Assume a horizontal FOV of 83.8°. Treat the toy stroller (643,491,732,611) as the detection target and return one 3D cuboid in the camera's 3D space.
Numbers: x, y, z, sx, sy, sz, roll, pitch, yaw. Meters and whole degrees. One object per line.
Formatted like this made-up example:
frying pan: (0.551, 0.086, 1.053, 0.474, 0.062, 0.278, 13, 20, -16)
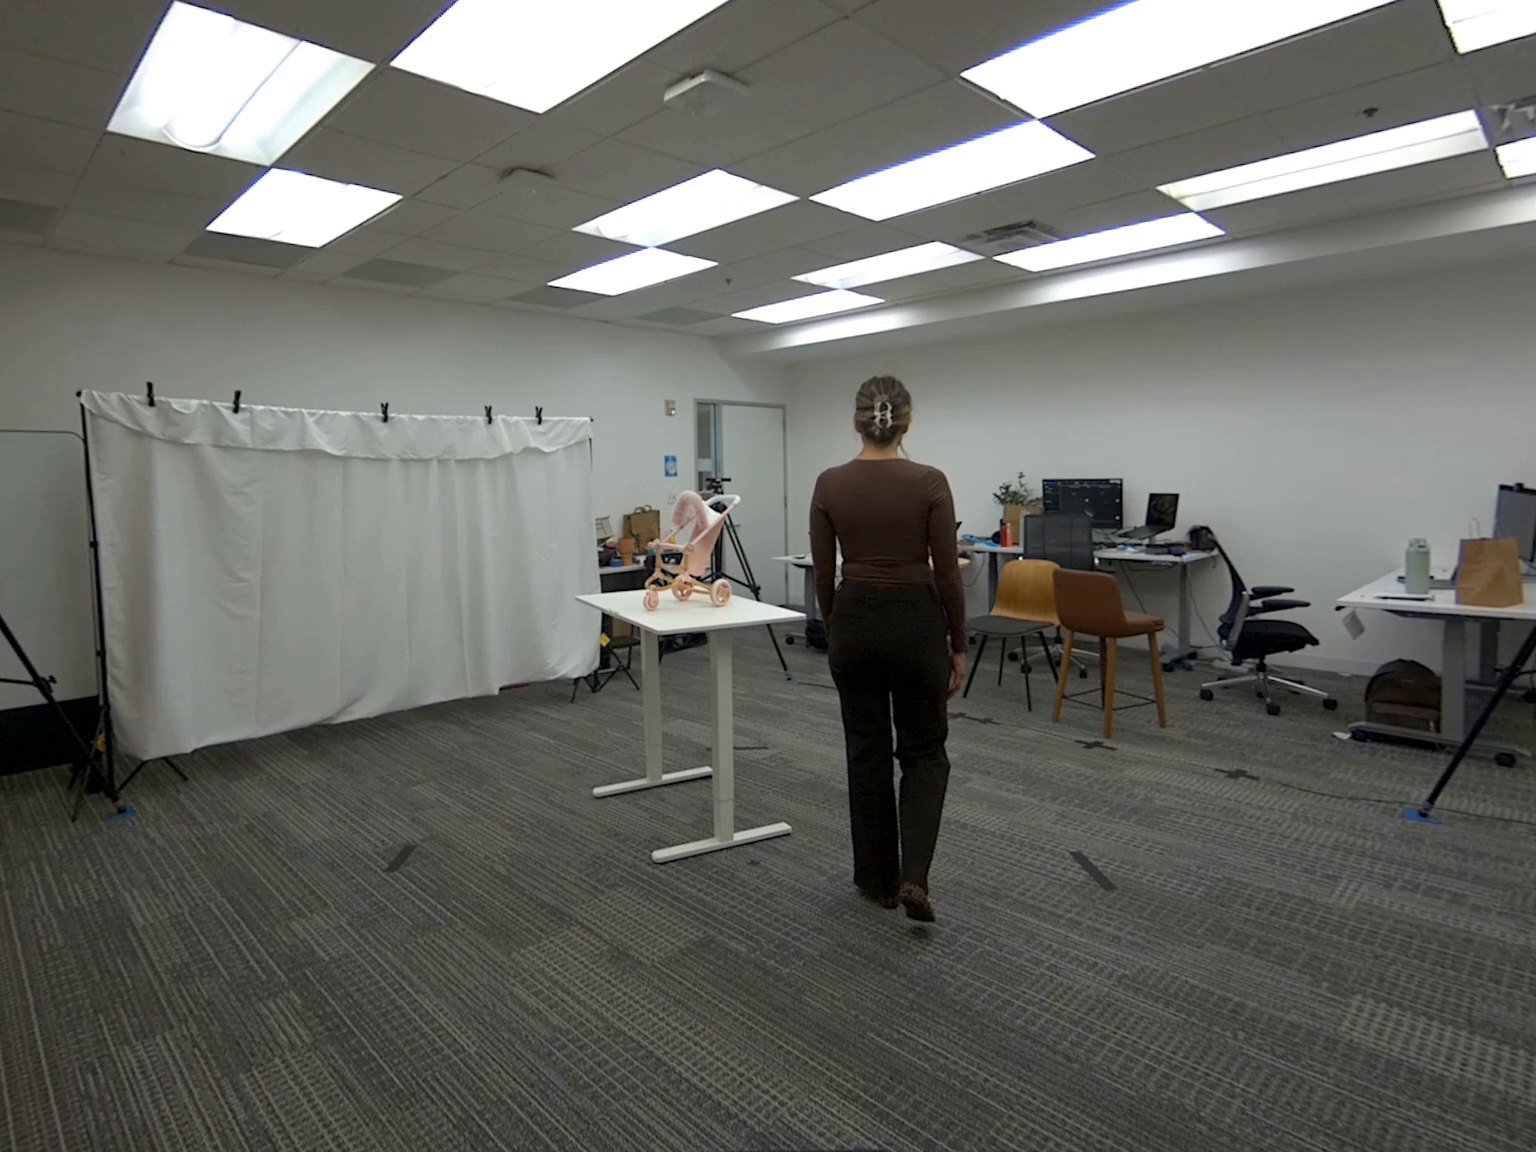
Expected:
toy stroller: (-0.330, -0.105, 3.491, 0.330, 0.537, 0.290, 13, -5, -37)
